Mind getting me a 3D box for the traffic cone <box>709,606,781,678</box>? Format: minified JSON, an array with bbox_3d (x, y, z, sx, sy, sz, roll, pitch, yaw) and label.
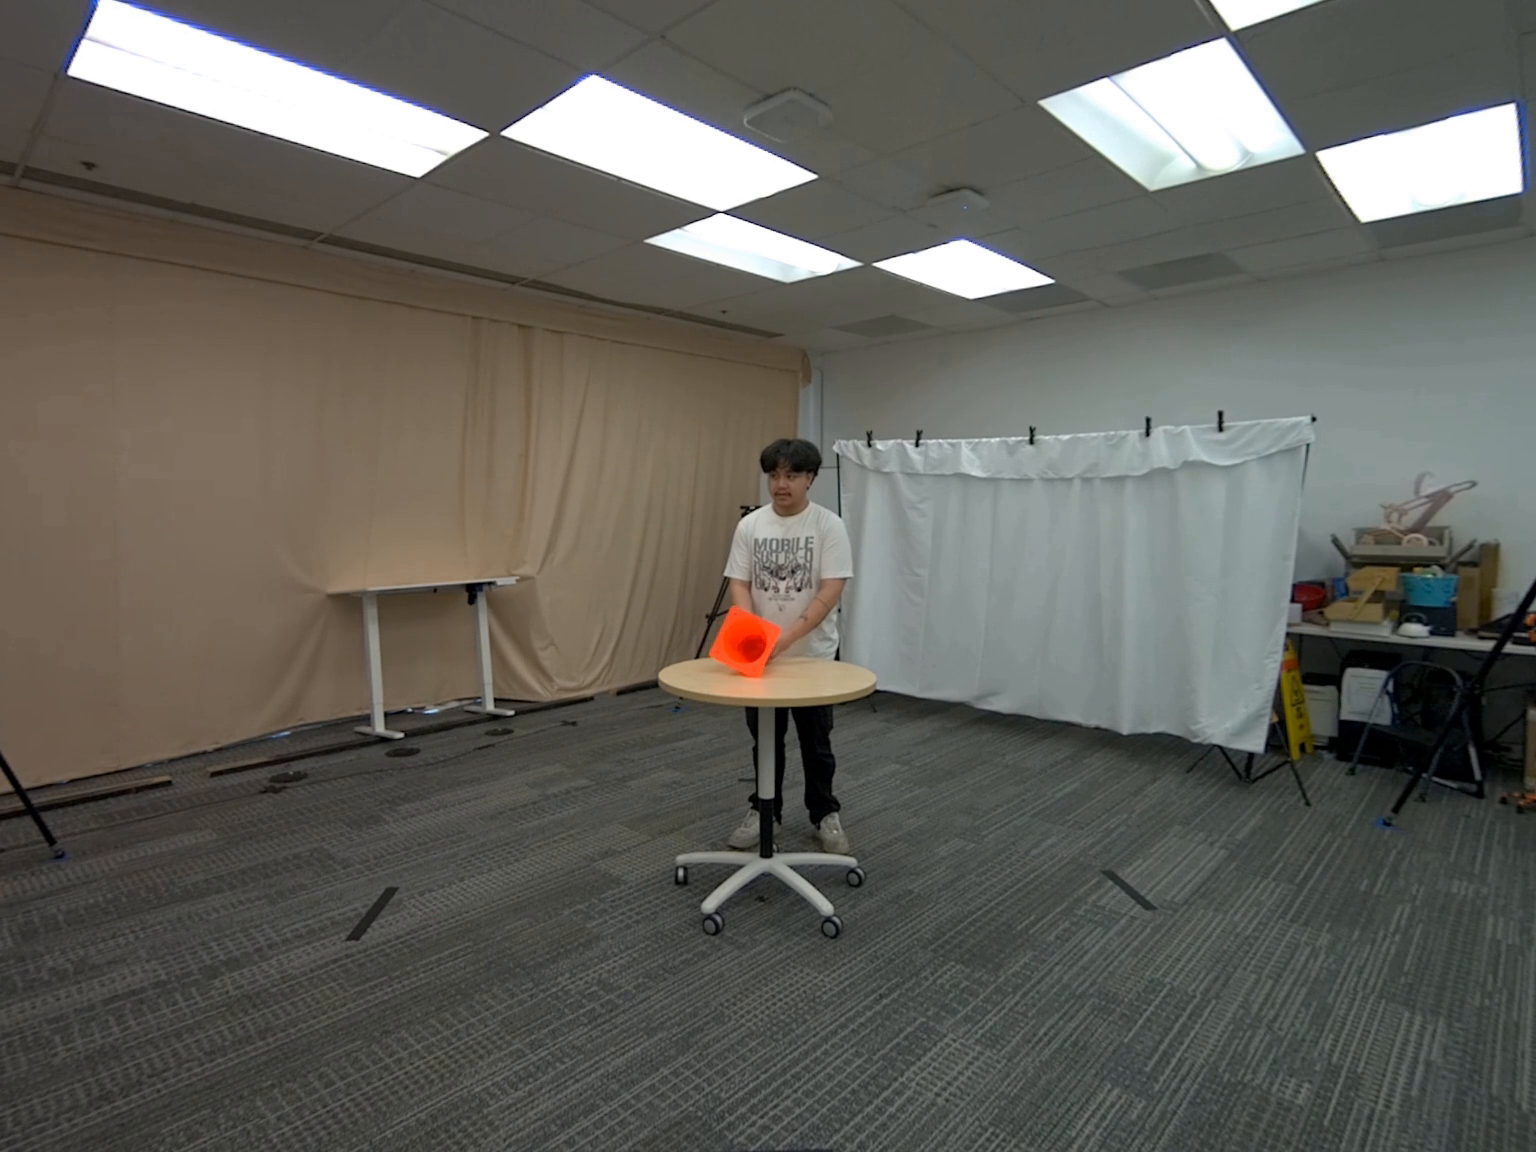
[{"bbox_3d":[-0.038,0.273,3.132,0.209,0.203,0.376,17,-6,15],"label":"traffic cone"}]
